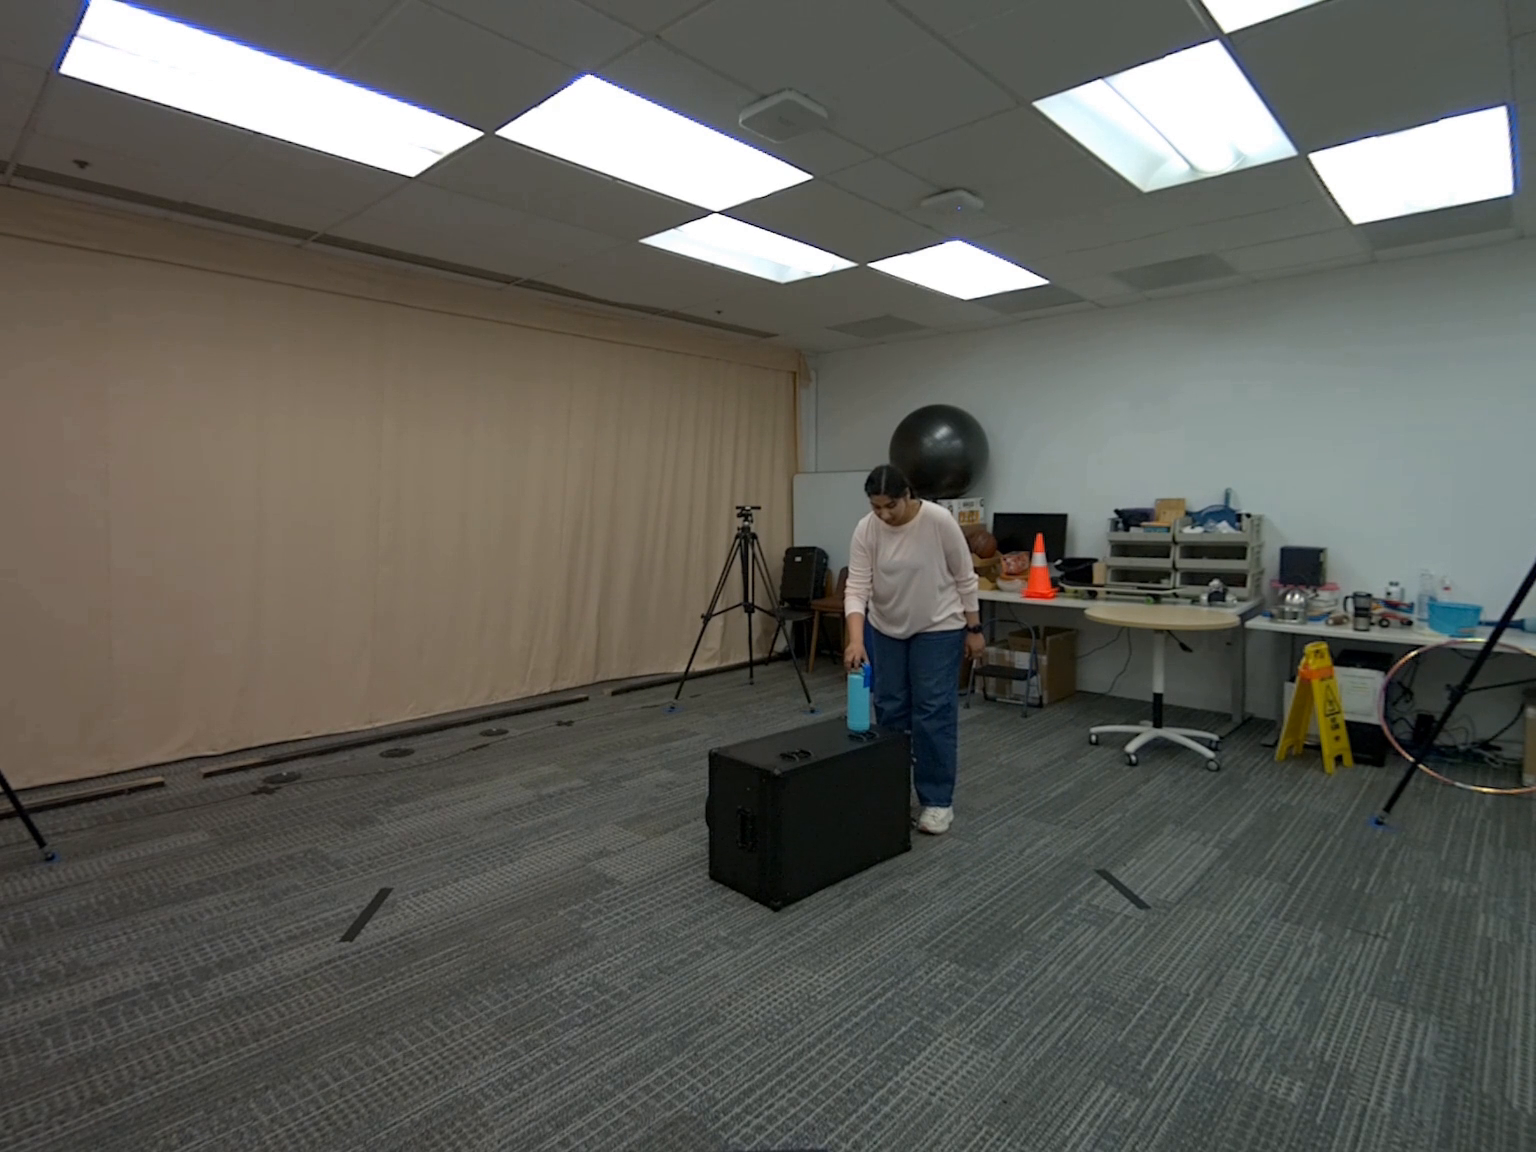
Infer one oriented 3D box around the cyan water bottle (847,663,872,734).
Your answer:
[{"bbox_3d":[0.380,0.487,3.450,0.092,0.283,0.092,2,2,-2],"label":"cyan water bottle"}]
